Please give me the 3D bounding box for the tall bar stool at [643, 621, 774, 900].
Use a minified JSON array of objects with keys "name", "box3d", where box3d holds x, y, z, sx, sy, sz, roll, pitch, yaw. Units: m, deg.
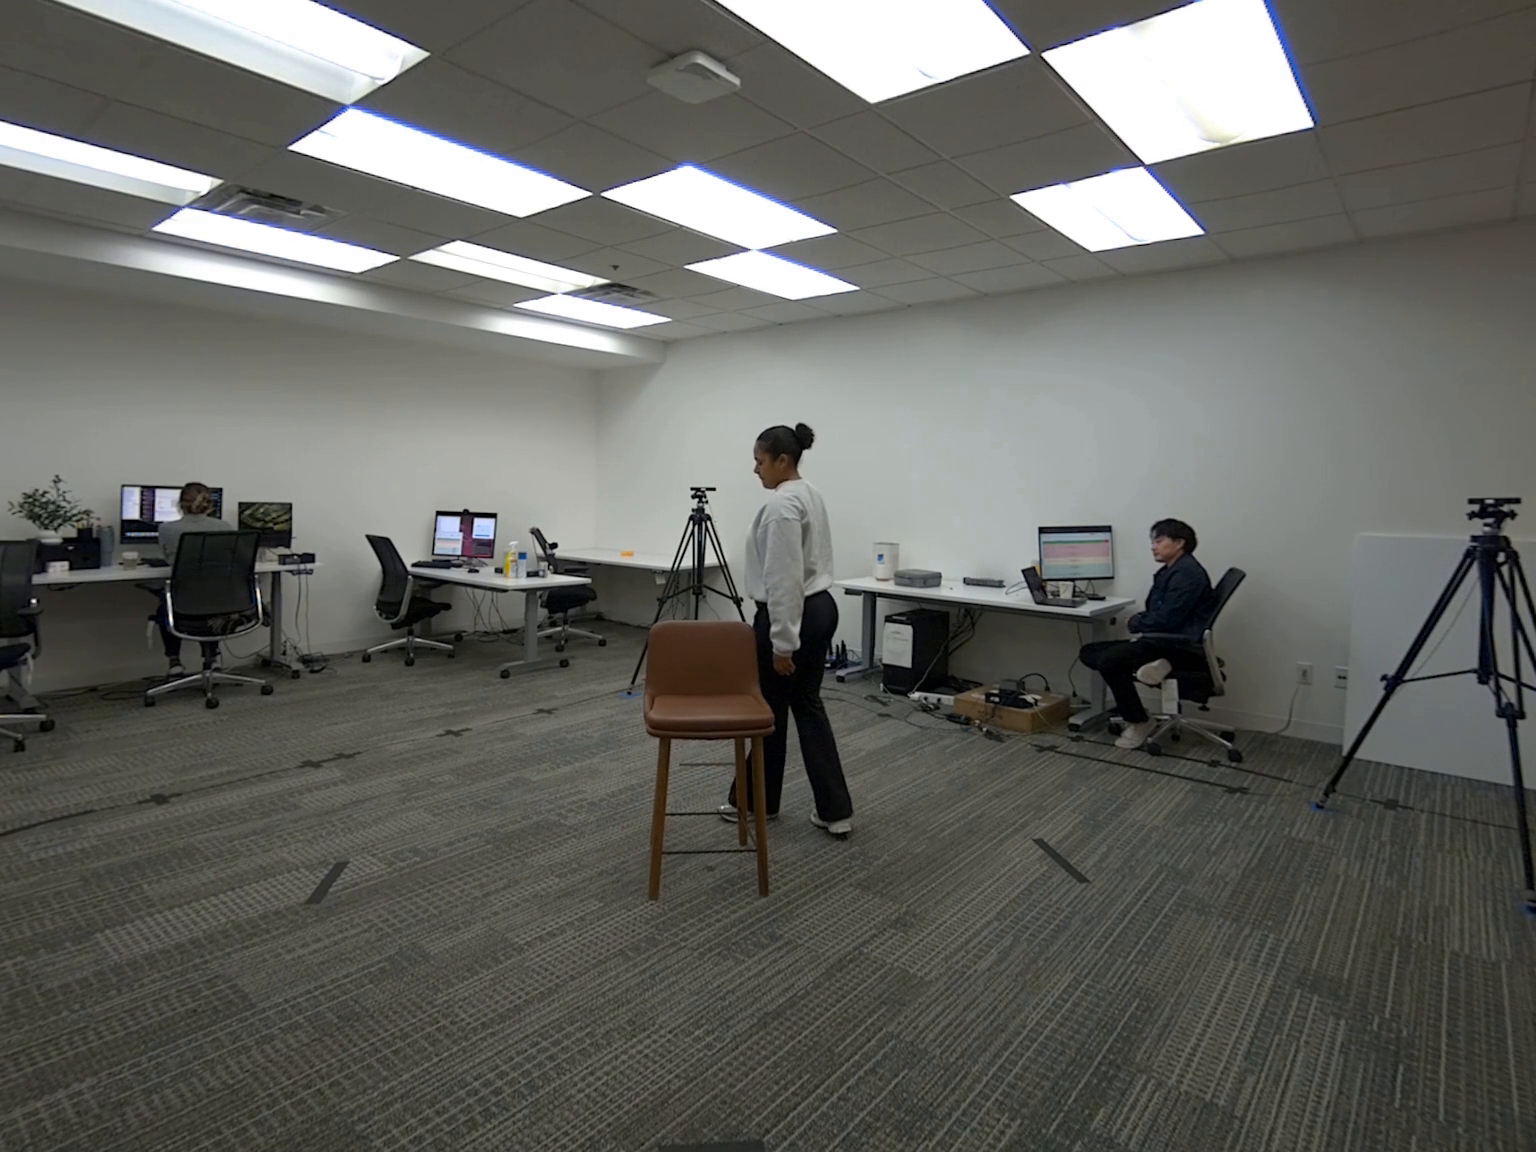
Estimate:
[{"name":"tall bar stool","box3d":[-0.232,0.637,3.093,0.453,0.888,0.472,1,2,-8]}]
